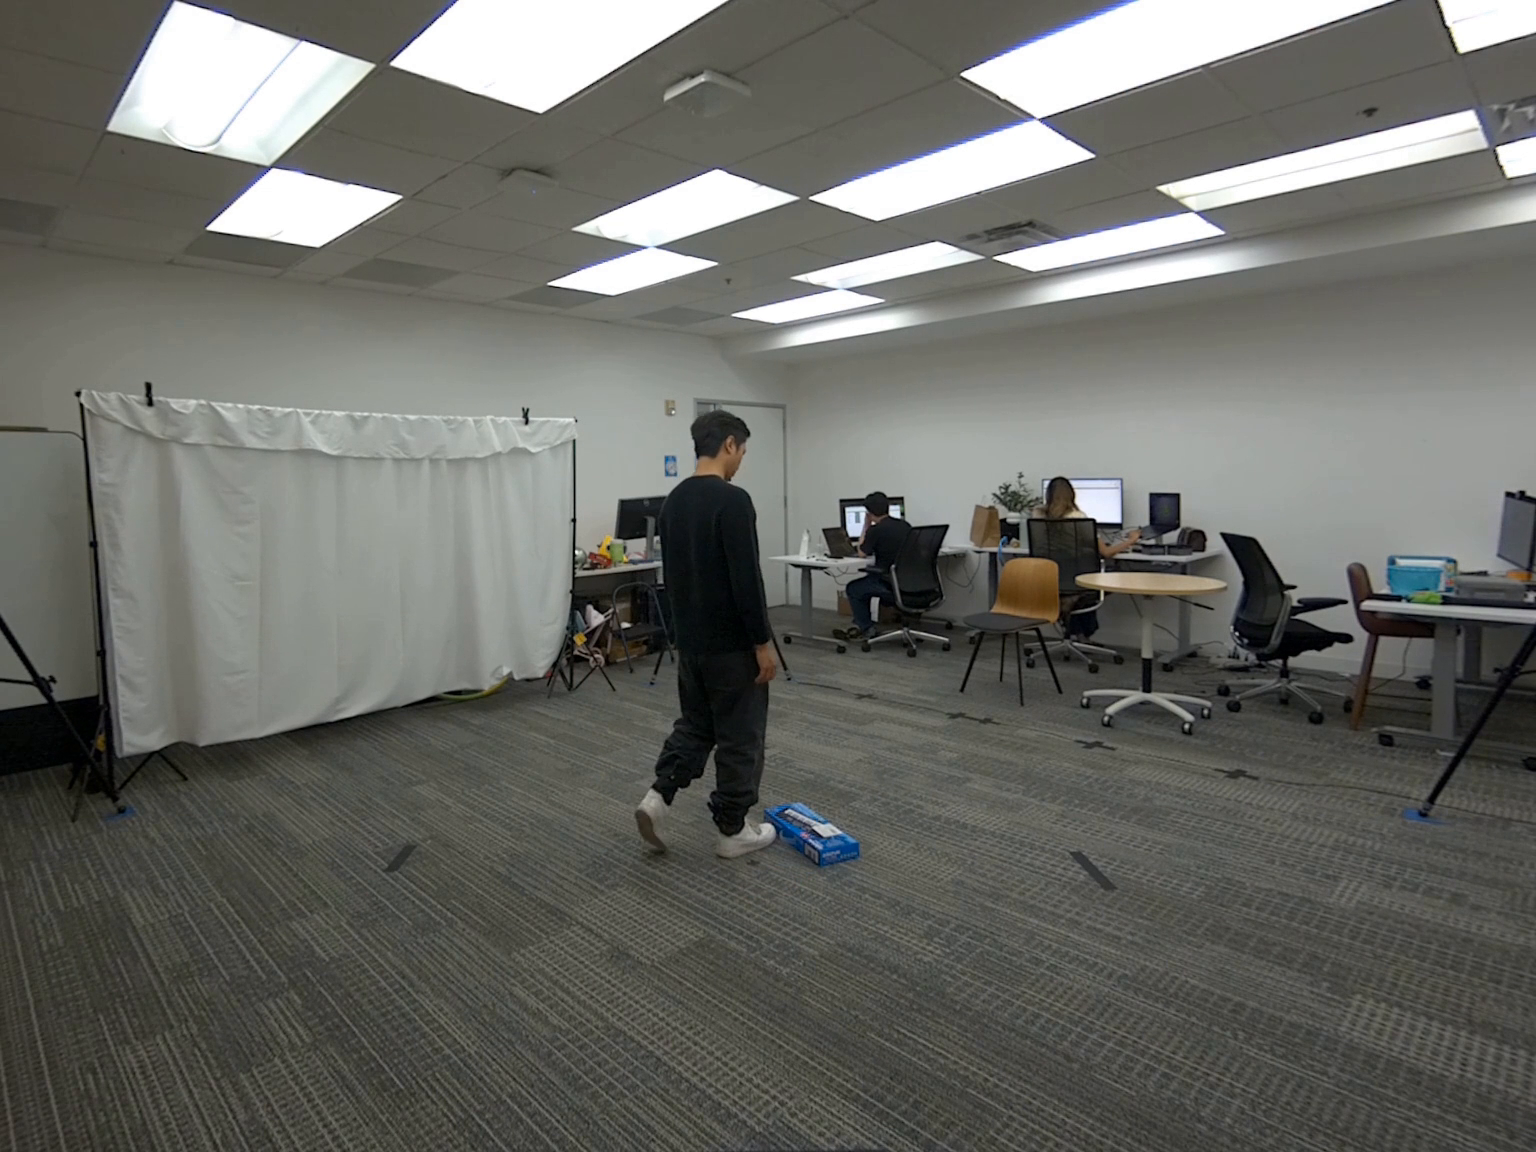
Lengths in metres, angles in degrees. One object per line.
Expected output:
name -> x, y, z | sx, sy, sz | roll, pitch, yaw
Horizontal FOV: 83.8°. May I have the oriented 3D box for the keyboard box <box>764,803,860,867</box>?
keyboard box -> 0.163, 0.988, 3.296 | 0.172, 0.059, 0.448 | -4, 7, -27
